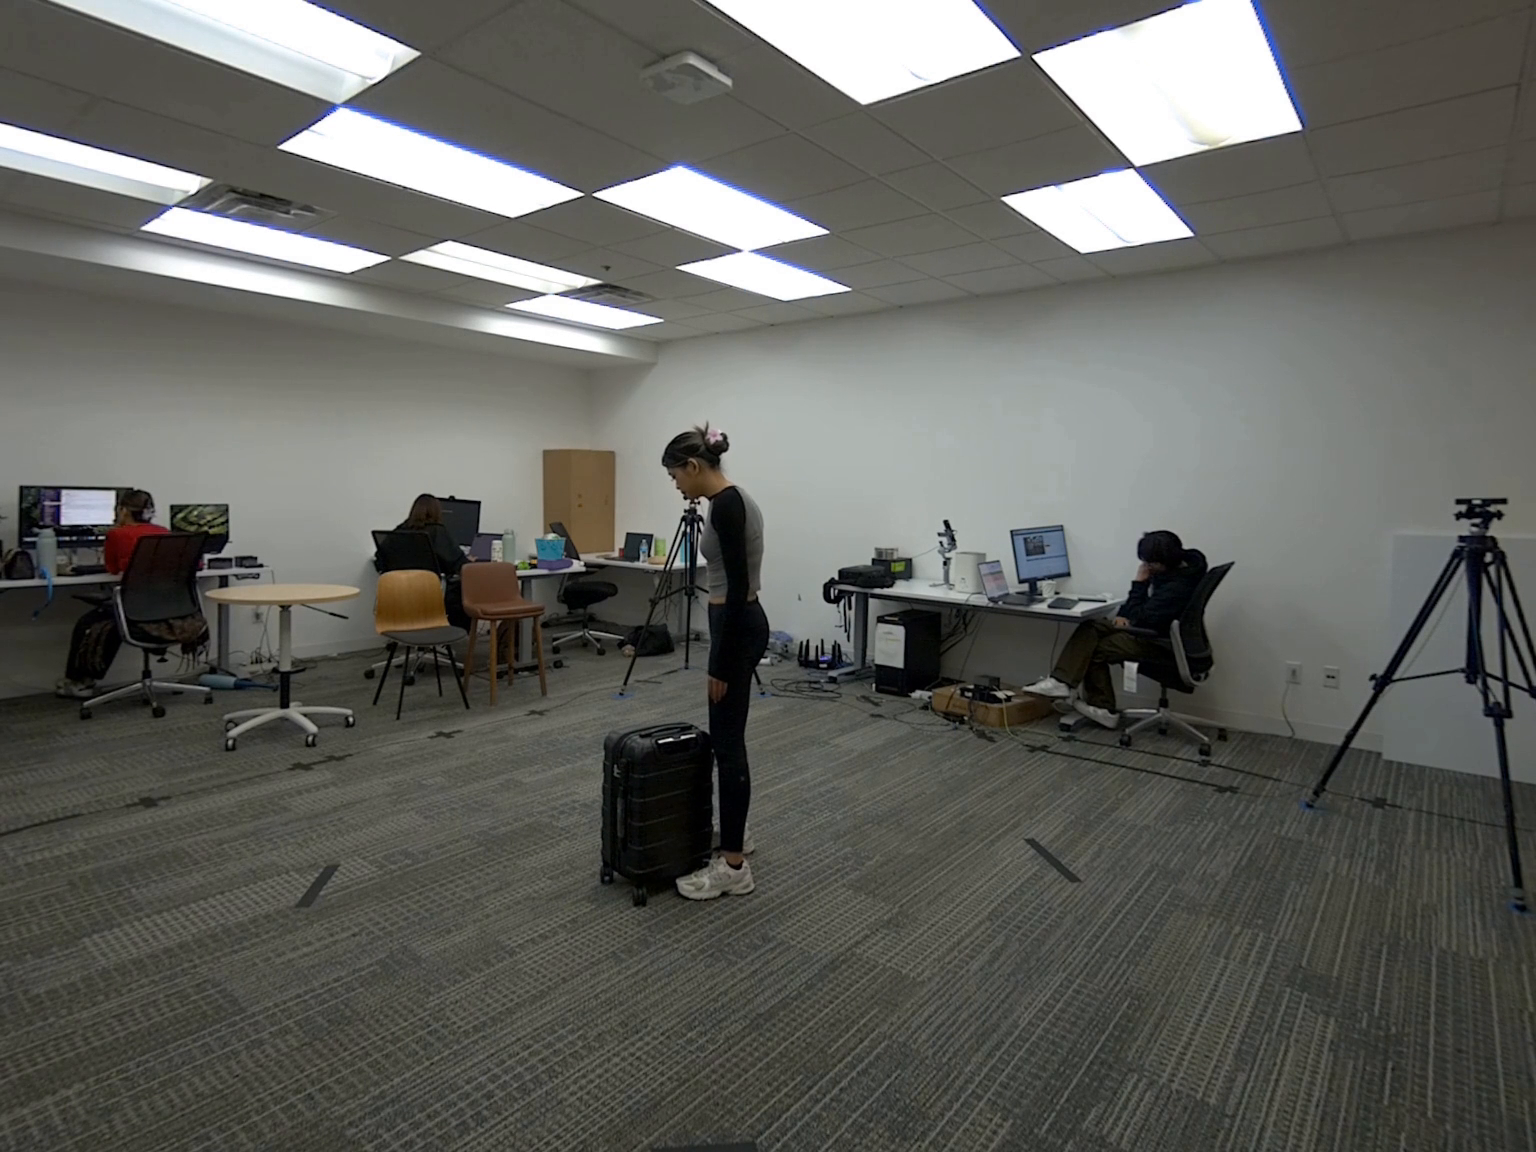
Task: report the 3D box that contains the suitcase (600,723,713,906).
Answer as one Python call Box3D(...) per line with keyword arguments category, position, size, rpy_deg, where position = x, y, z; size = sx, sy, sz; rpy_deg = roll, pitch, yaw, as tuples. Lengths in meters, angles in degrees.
Box3D(category="suitcase", position=(-0.405, 0.799, 3.012), size=(0.364, 0.548, 0.256), rpy_deg=(-2, 3, -39))
